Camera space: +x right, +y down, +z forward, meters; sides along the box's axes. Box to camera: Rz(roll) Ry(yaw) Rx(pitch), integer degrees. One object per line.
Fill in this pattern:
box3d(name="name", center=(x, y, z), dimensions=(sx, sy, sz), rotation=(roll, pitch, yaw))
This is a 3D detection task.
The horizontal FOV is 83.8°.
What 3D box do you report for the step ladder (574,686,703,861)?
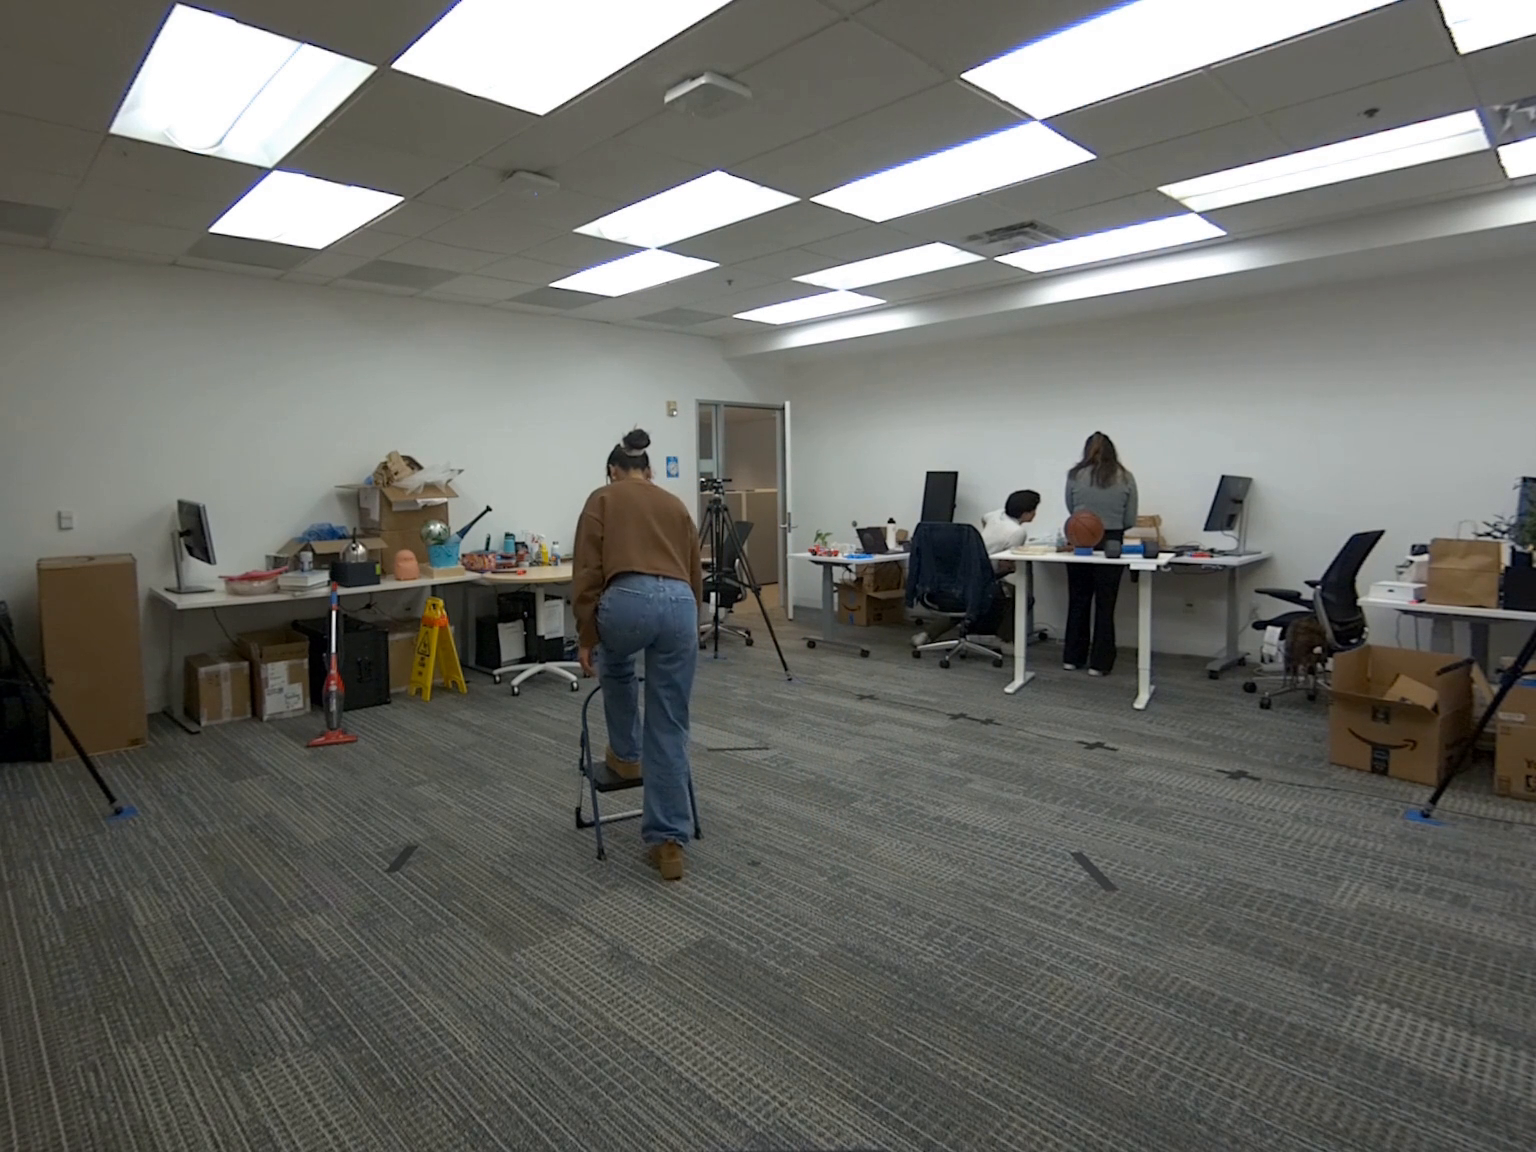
box3d(name="step ladder", center=(-0.522, 0.720, 3.383), dimensions=(0.421, 0.604, 0.358), rotation=(-4, 5, -28))
